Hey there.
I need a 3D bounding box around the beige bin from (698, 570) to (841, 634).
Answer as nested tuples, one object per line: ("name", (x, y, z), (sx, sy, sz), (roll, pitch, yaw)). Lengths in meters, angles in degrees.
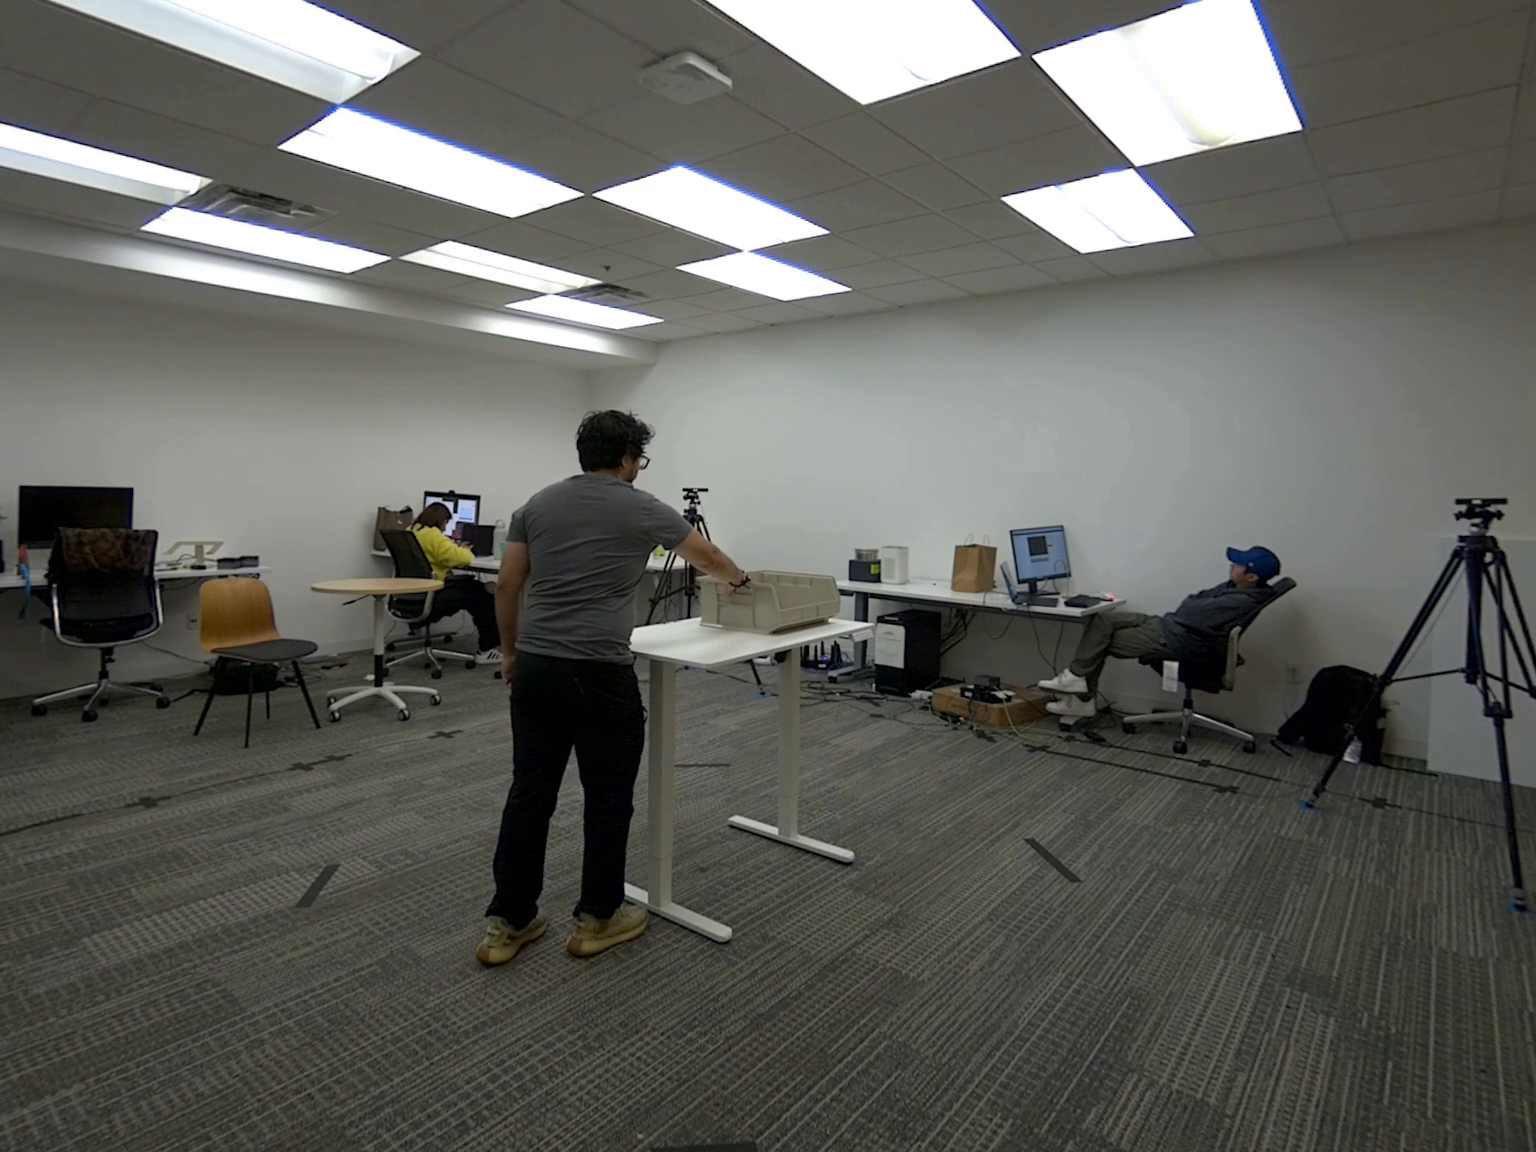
("beige bin", (-0.001, 0.091, 3.205), (0.389, 0.188, 0.410), (3, 6, 37))
